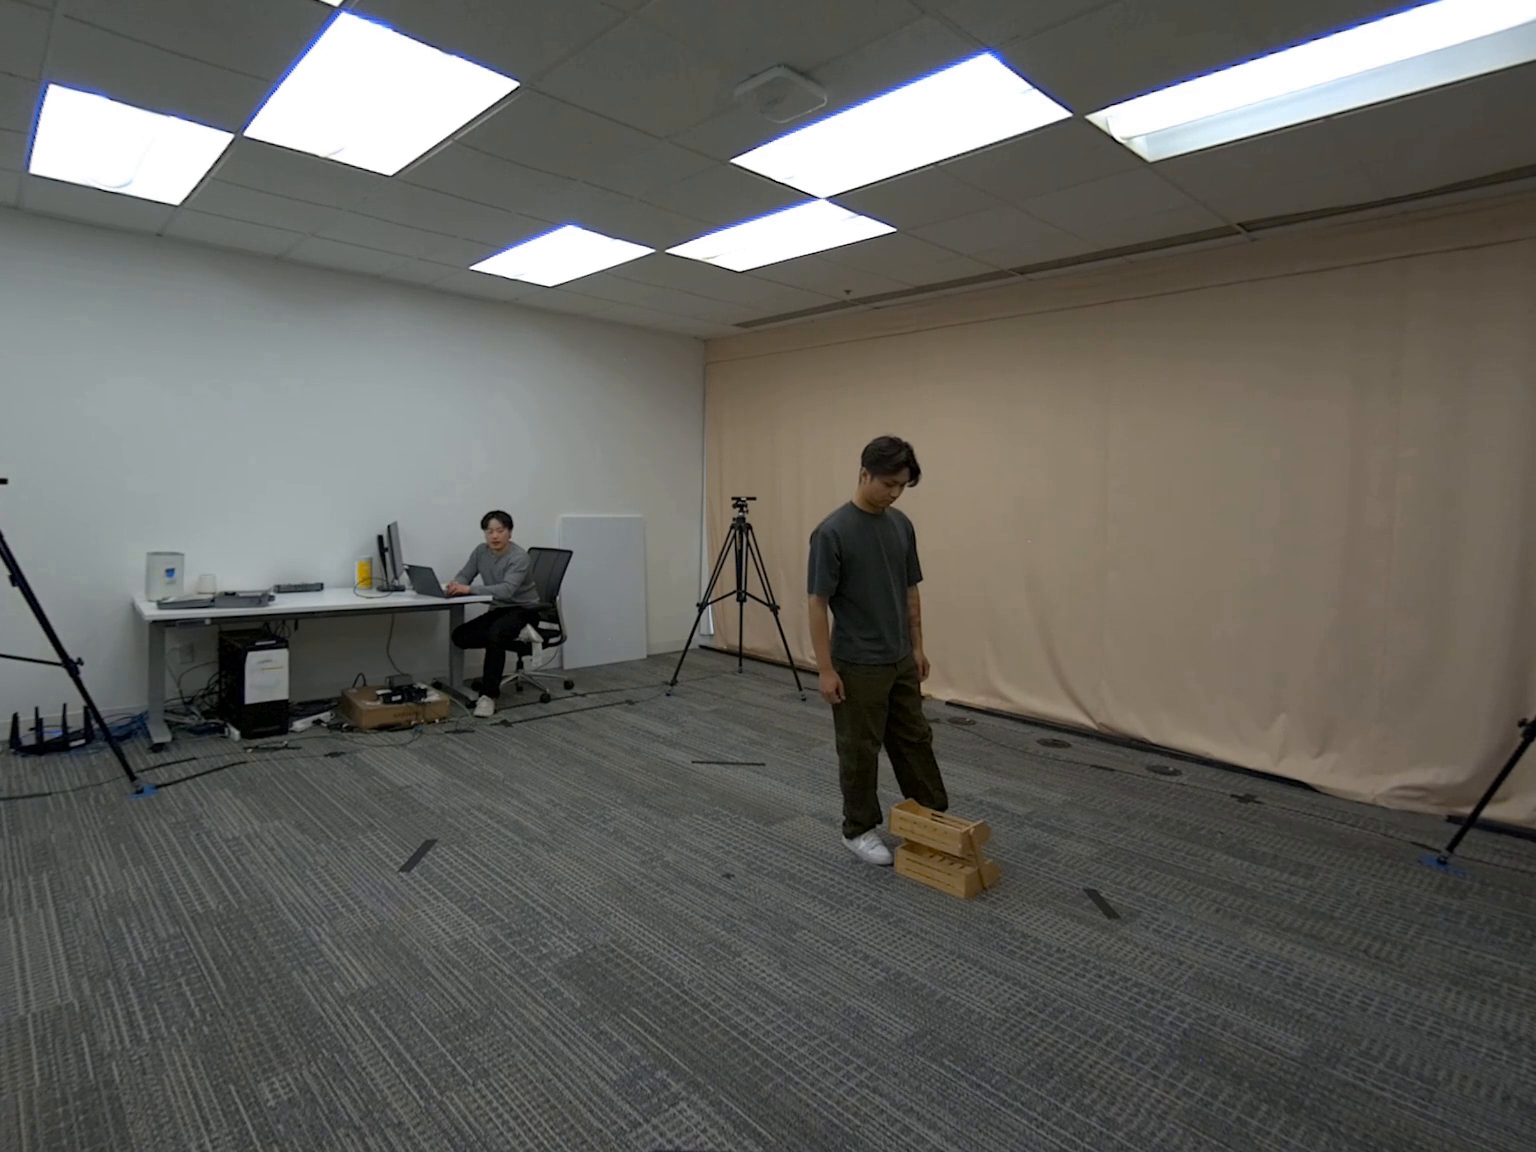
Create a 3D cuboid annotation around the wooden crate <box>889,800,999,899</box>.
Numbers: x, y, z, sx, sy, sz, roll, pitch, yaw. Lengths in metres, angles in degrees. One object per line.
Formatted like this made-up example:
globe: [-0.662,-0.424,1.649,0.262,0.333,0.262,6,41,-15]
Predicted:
wooden crate: [0.653,0.991,3.130,0.333,0.272,0.295,5,6,43]
